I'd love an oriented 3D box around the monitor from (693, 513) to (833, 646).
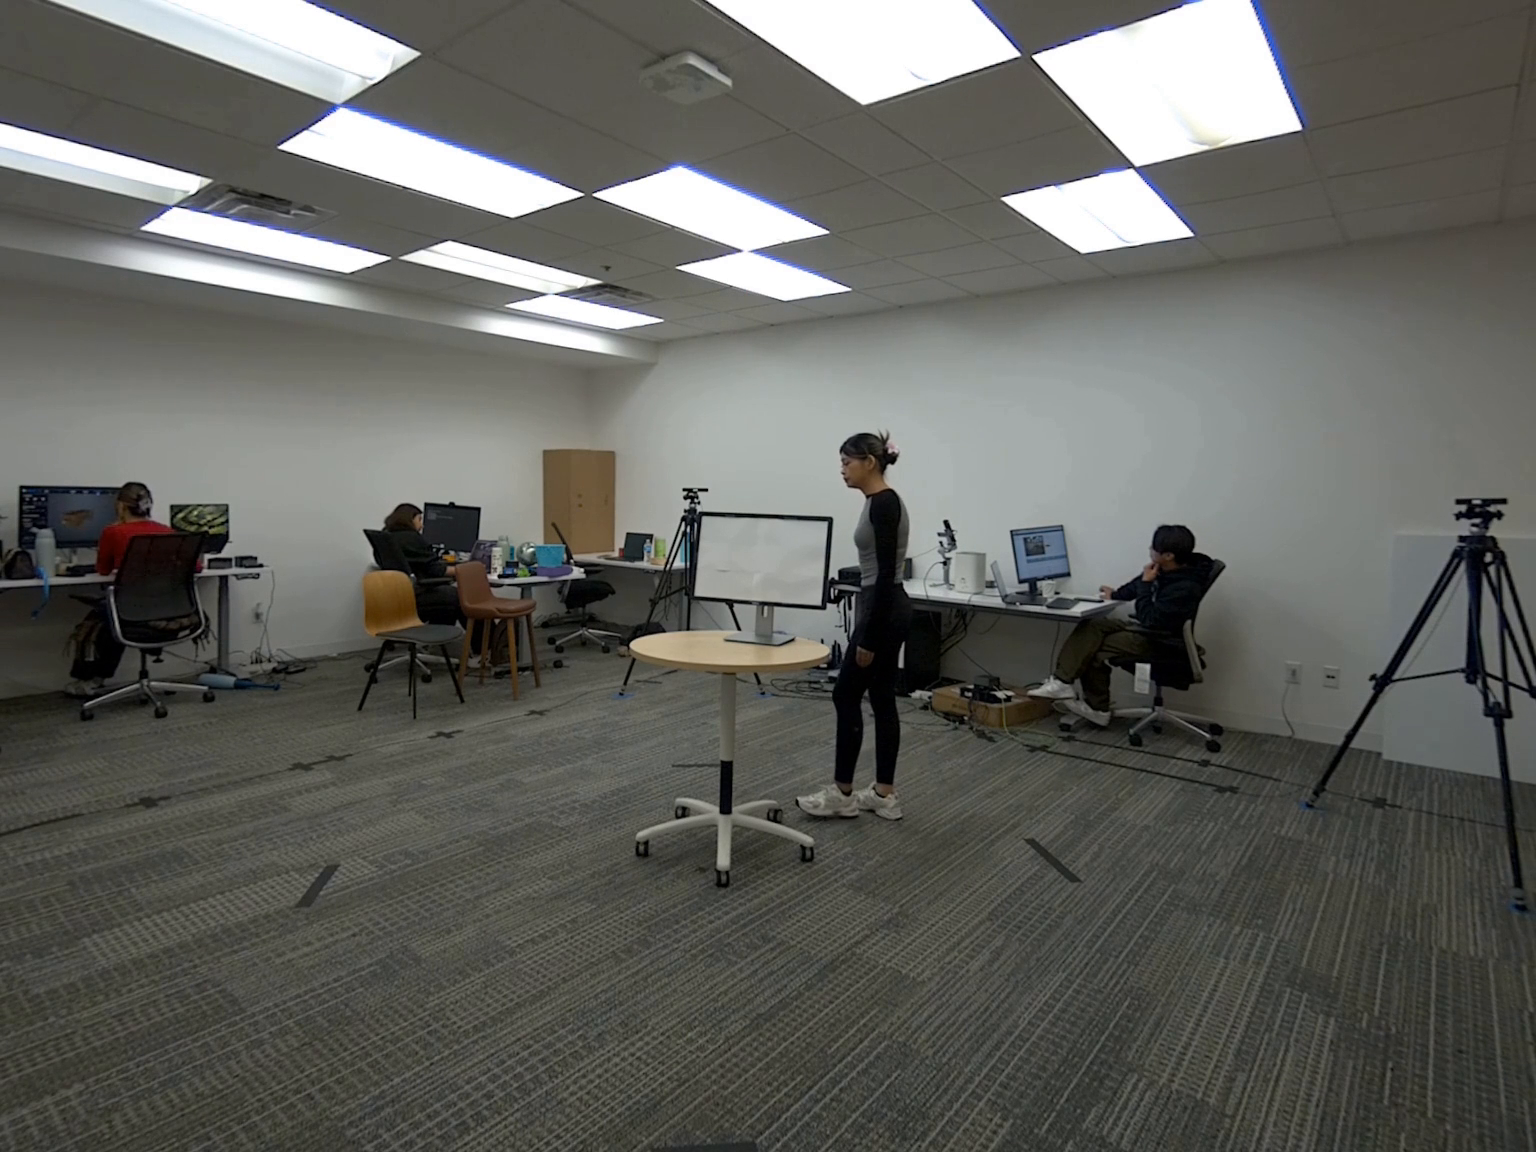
[{"bbox_3d":[-0.031,0.012,3.413,0.550,0.520,0.184,4,5,18],"label":"monitor"}]
